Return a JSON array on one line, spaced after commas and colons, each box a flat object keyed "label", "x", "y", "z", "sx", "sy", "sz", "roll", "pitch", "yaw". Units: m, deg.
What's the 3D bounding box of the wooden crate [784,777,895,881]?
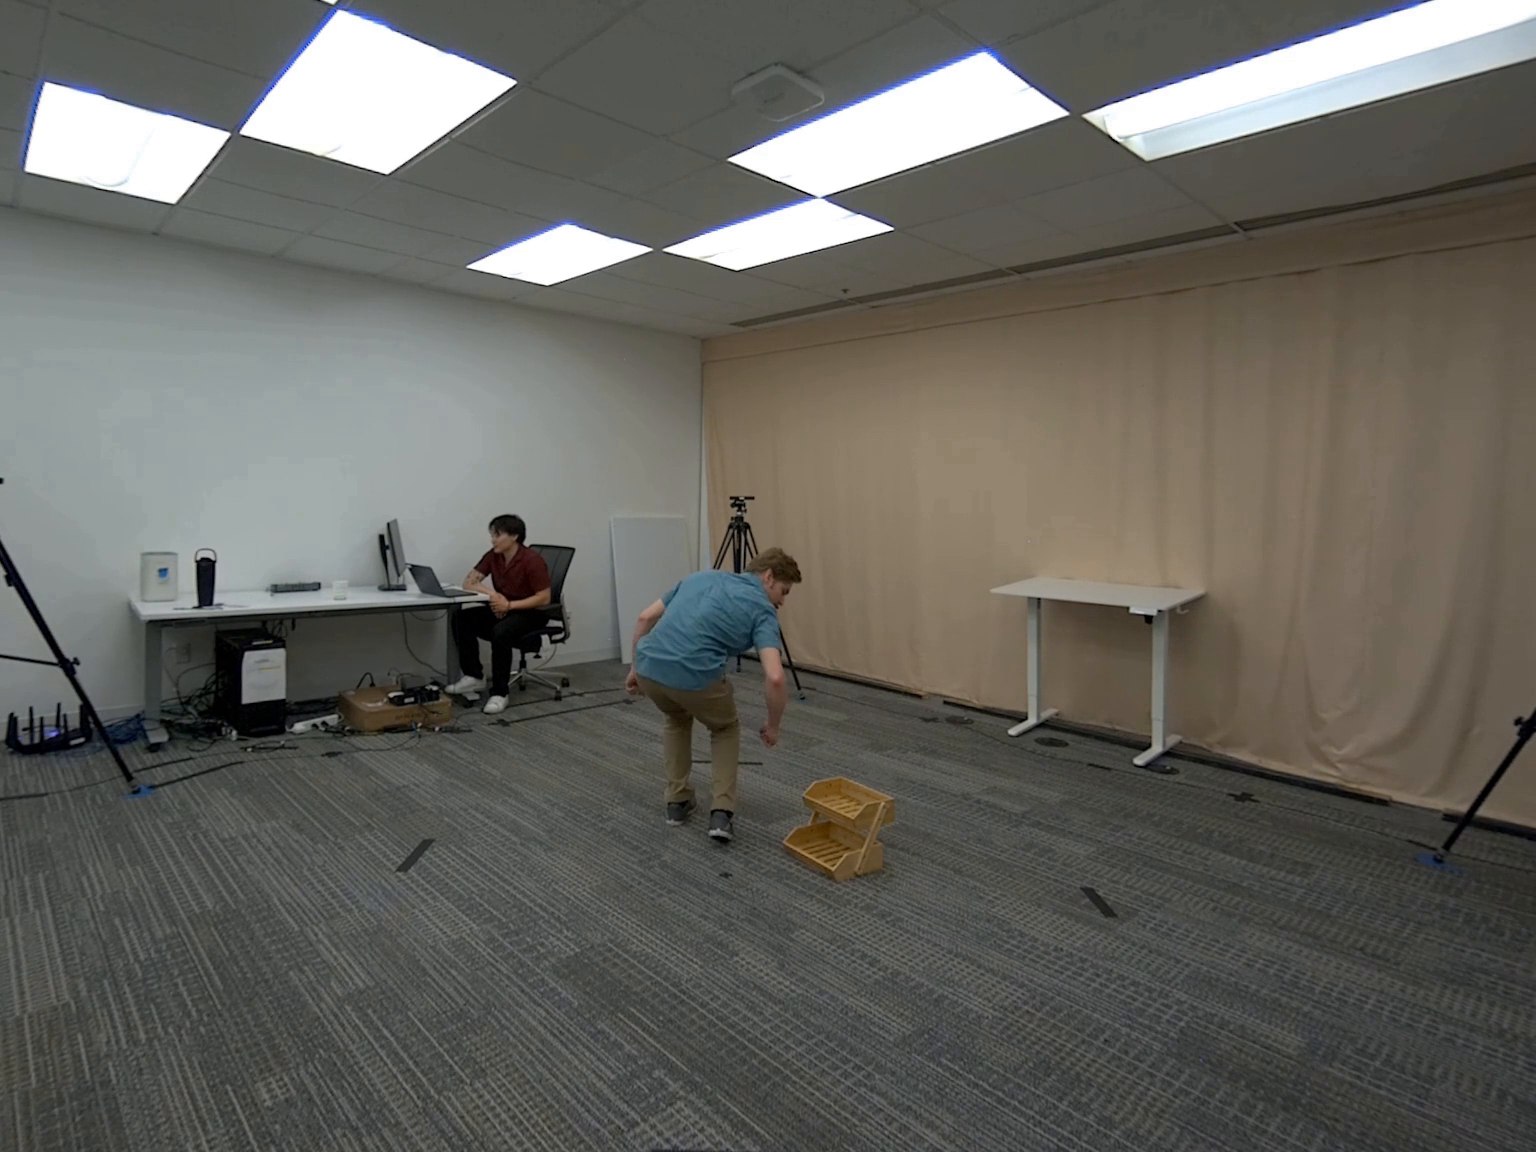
[{"label": "wooden crate", "x": 0.260, "y": 0.966, "z": 3.257, "sx": 0.295, "sy": 0.273, "sz": 0.332, "roll": -1, "pitch": 4, "yaw": -36}]
